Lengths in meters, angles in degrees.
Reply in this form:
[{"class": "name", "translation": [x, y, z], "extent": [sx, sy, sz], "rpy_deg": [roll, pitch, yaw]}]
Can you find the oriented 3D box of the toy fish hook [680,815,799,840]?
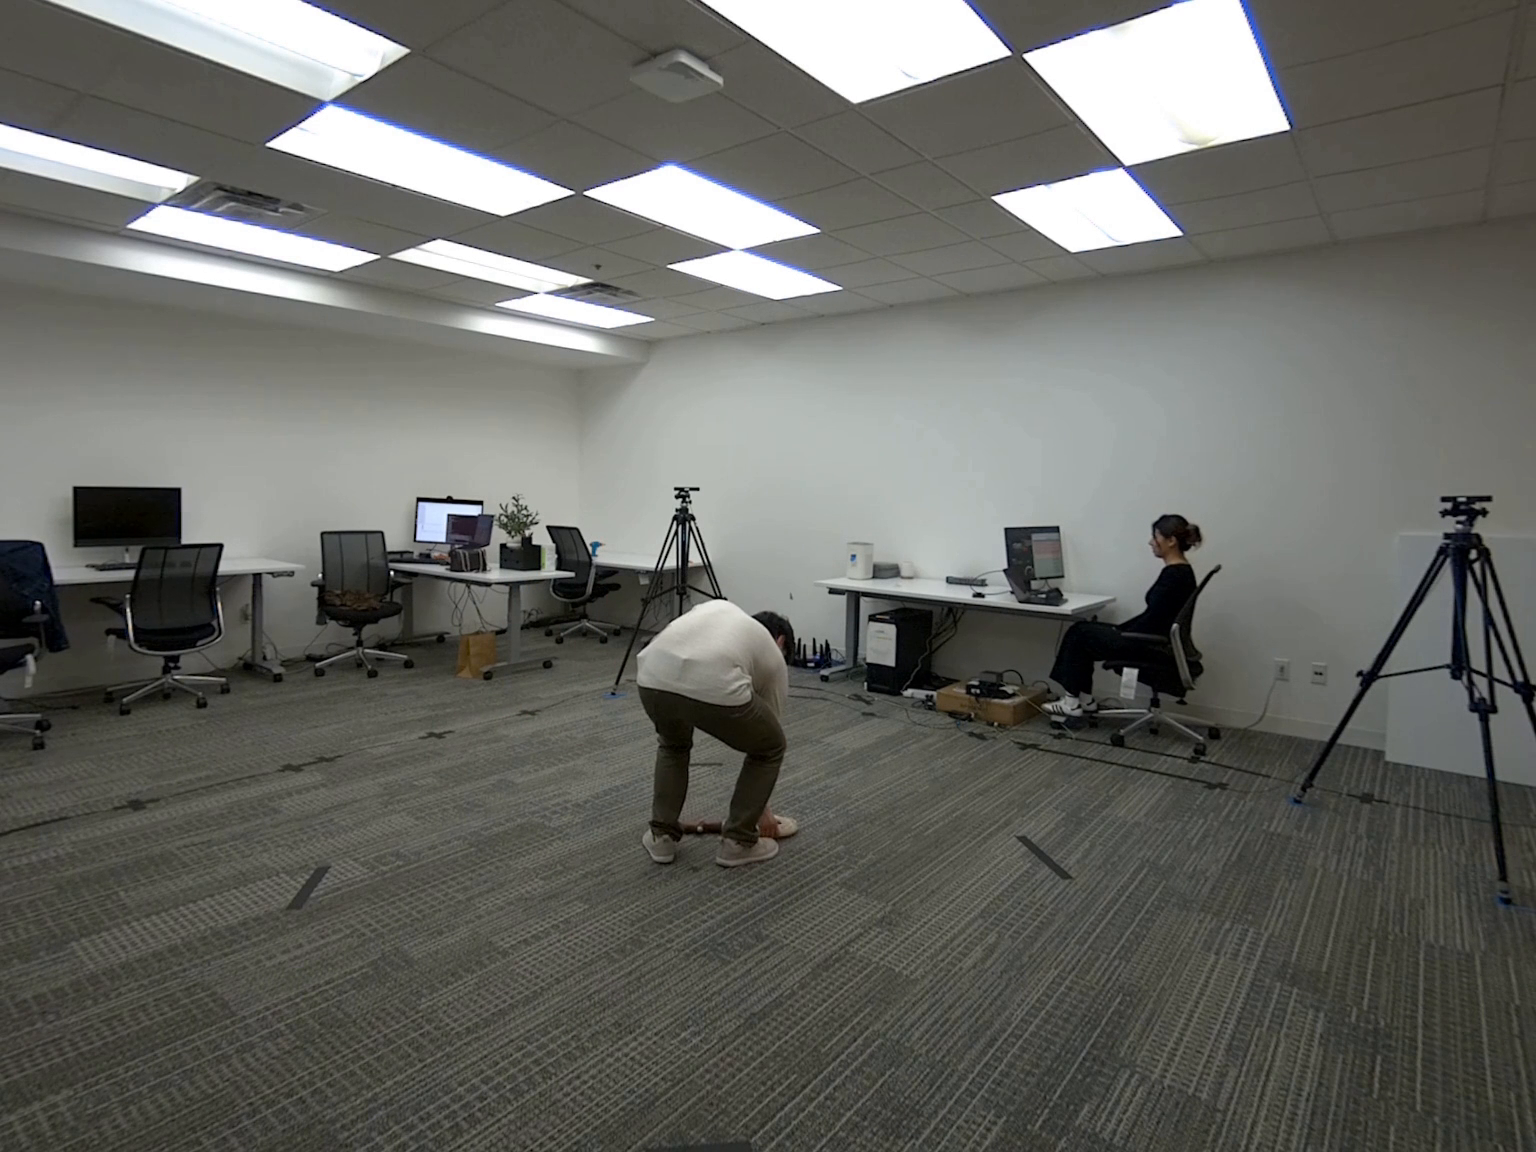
[{"class": "toy fish hook", "translation": [-0.148, 1.003, 3.484], "extent": [0.507, 0.048, 0.223], "rpy_deg": [1, -3, 1]}]
